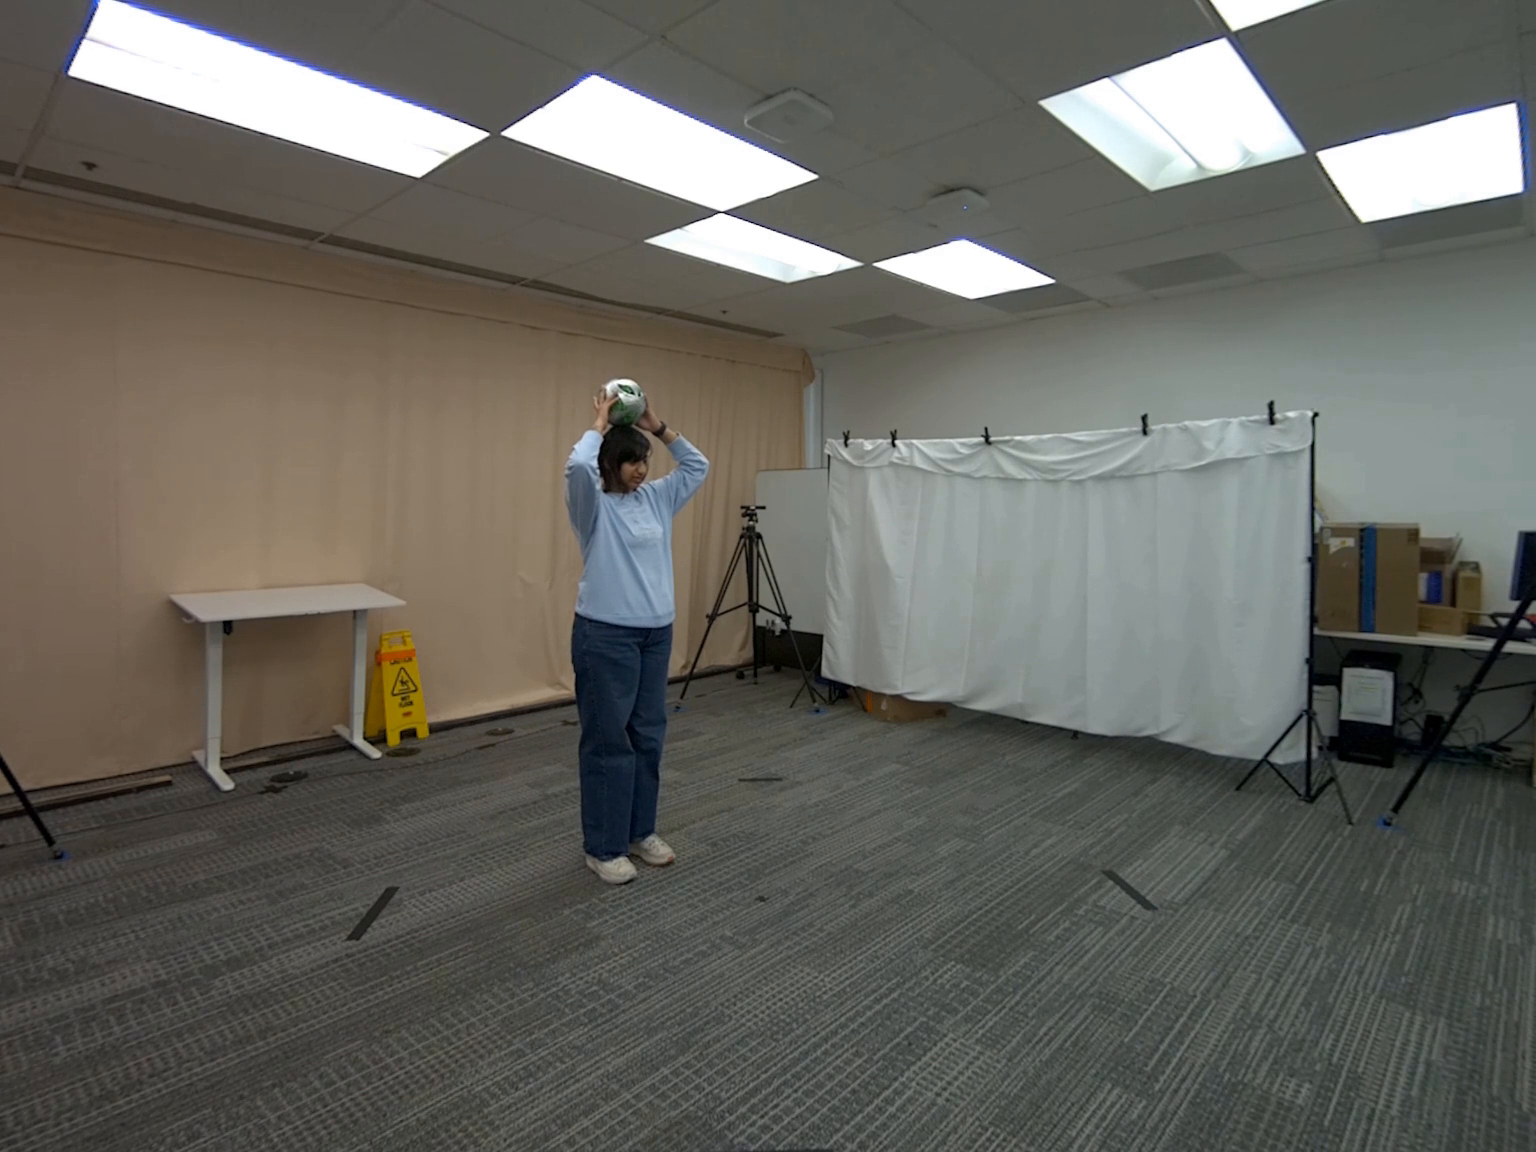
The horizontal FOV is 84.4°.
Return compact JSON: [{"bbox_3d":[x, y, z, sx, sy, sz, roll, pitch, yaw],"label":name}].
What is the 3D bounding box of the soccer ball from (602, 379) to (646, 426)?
[{"bbox_3d":[-0.560,-0.657,3.204,0.187,0.187,0.188,0,4,-2],"label":"soccer ball"}]
